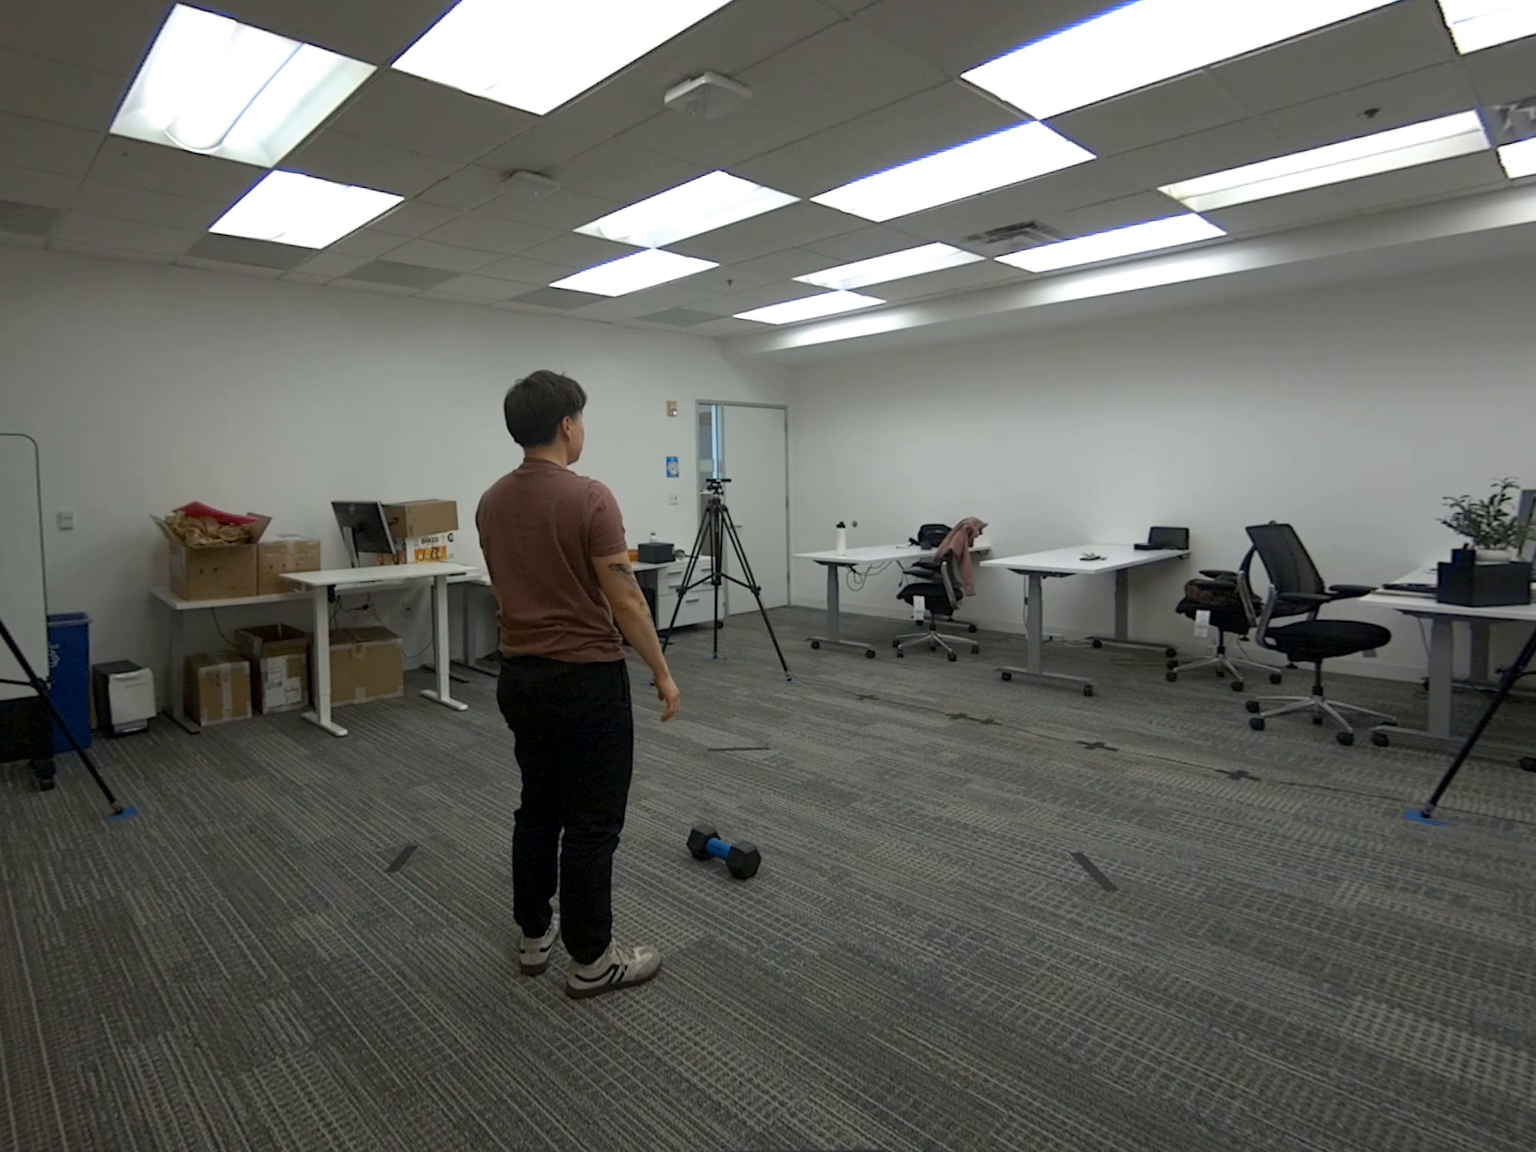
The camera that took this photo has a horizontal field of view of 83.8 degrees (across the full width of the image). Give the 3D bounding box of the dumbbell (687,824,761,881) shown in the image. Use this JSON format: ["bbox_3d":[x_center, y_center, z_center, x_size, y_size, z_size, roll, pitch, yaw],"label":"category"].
[{"bbox_3d":[-0.158,0.994,3.090,0.303,0.120,0.108,5,35,46],"label":"dumbbell"}]
